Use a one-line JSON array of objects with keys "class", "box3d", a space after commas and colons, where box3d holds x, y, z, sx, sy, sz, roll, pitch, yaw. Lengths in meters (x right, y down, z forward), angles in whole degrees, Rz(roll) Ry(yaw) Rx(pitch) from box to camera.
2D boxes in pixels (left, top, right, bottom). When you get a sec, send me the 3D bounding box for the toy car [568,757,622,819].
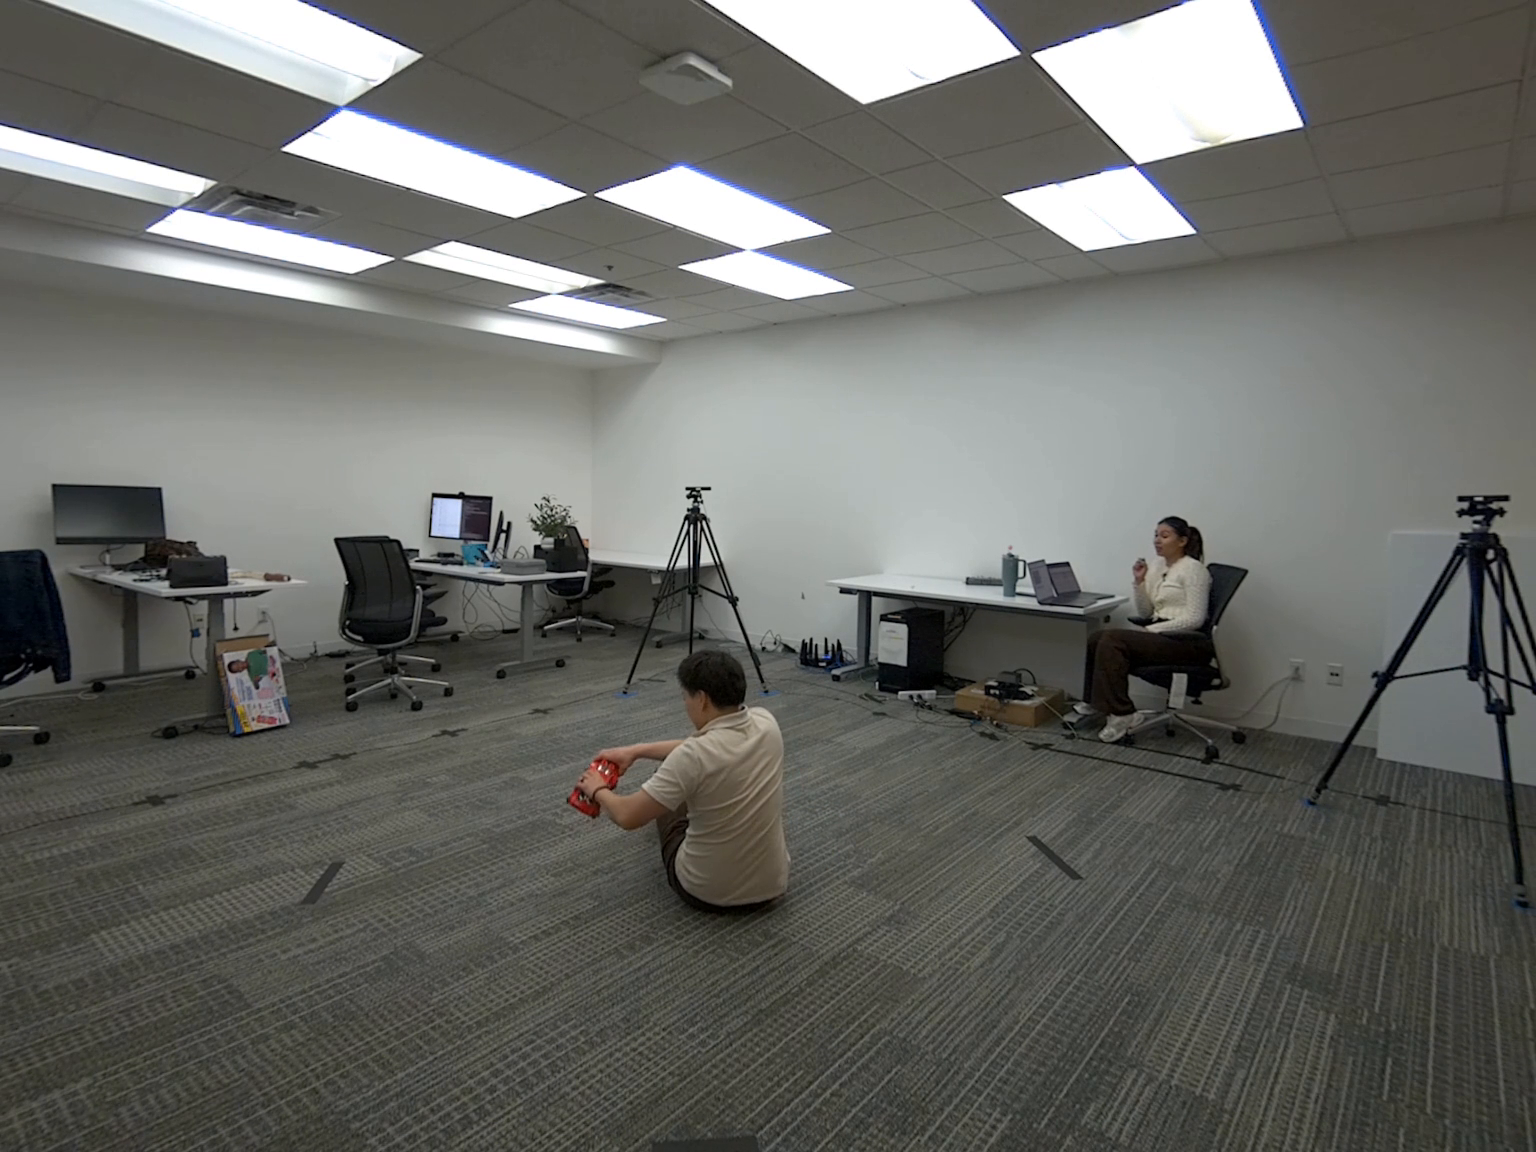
[{"class": "toy car", "box3d": [-0.592, 0.729, 2.958, 0.131, 0.082, 0.256, 27, 40, 4]}]
